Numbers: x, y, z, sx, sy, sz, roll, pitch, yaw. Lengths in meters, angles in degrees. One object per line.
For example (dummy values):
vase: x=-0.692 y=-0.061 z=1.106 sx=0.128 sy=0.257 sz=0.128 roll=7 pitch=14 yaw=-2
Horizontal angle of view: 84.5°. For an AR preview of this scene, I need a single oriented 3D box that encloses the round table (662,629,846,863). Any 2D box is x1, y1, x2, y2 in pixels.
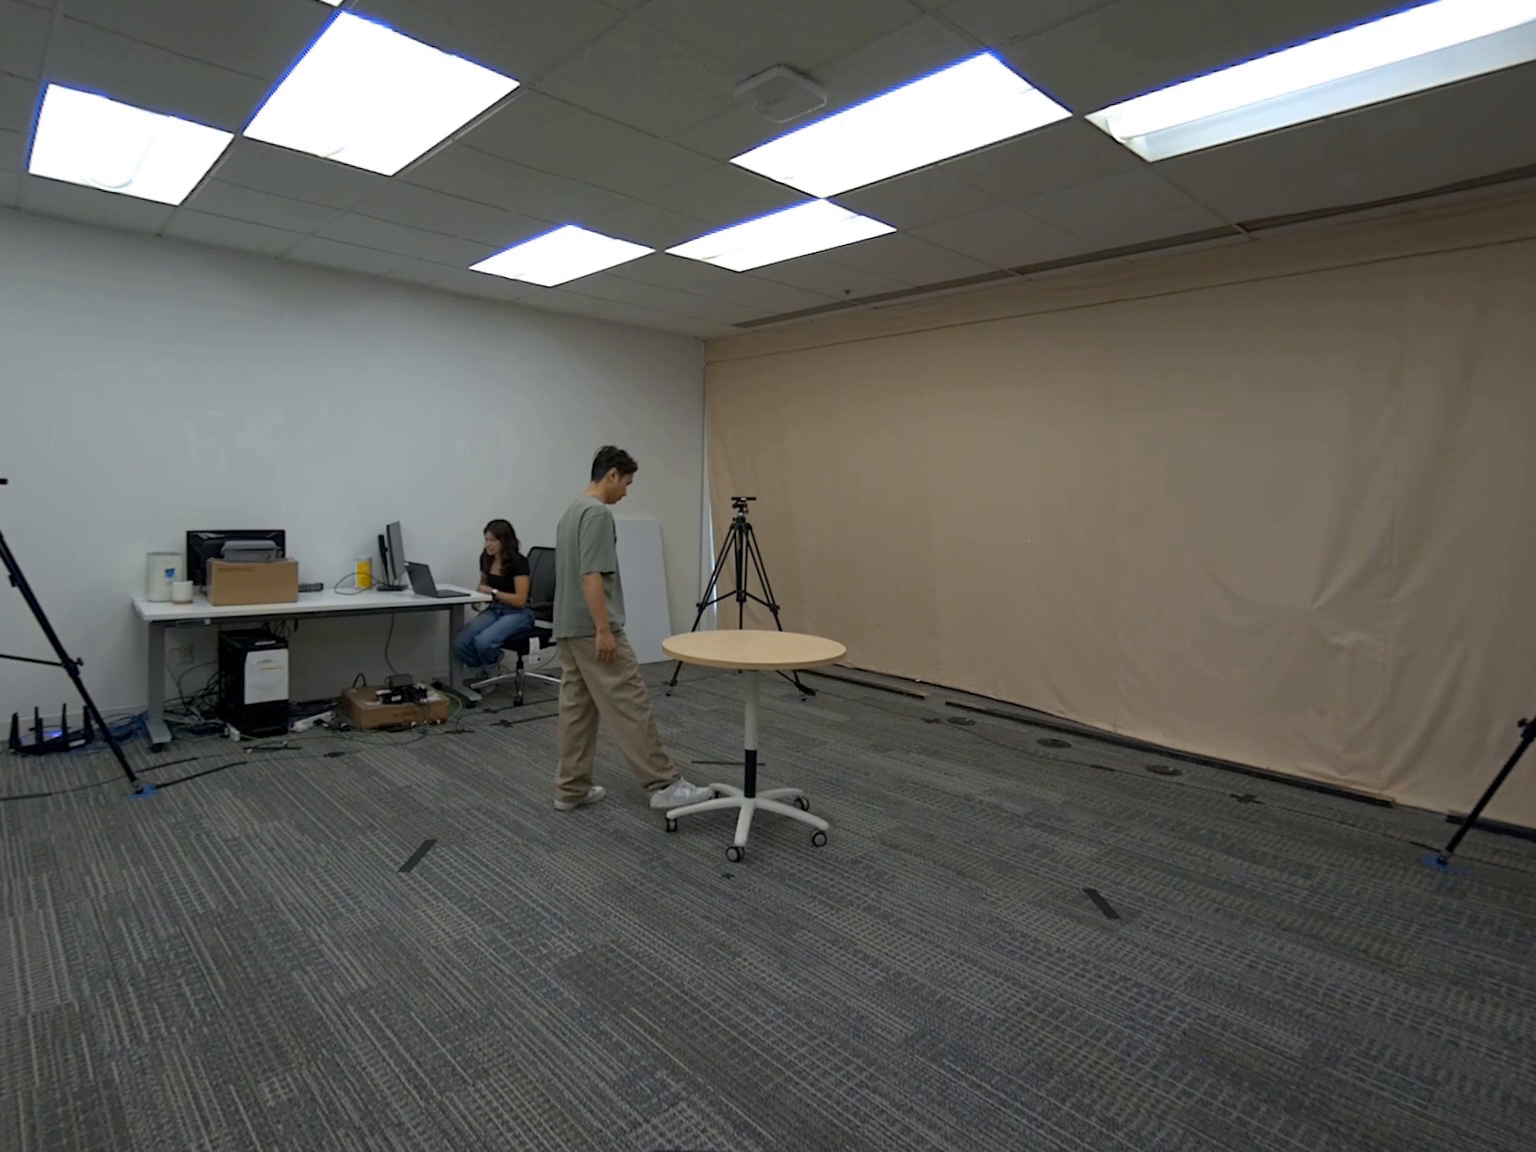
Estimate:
round table: x=-0.065 y=0.679 z=3.525 sx=0.784 sy=0.784 sz=0.788 roll=1 pitch=4 yaw=-1
